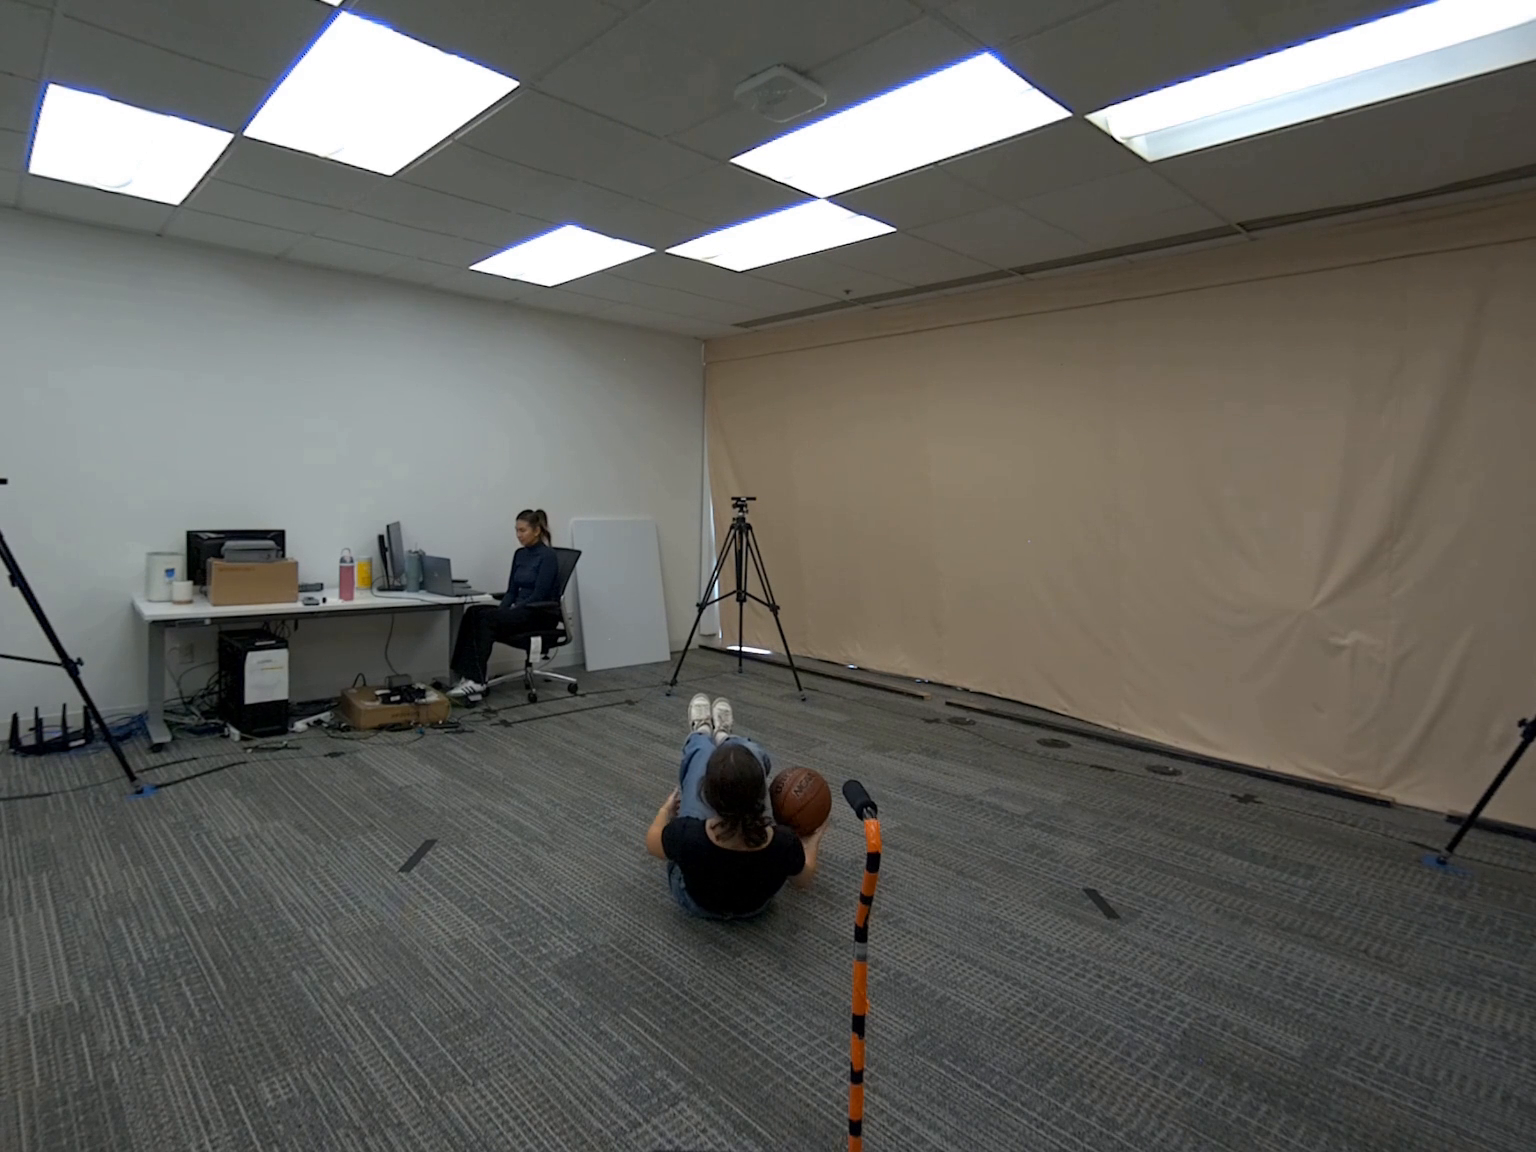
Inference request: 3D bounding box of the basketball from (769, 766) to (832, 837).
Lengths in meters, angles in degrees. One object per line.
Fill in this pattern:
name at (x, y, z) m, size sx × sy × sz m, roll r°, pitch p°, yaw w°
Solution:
basketball at (0.097, 0.824, 3.101) m, size 0.236 × 0.235 × 0.237 m, roll 1°, pitch 4°, yaw -1°
